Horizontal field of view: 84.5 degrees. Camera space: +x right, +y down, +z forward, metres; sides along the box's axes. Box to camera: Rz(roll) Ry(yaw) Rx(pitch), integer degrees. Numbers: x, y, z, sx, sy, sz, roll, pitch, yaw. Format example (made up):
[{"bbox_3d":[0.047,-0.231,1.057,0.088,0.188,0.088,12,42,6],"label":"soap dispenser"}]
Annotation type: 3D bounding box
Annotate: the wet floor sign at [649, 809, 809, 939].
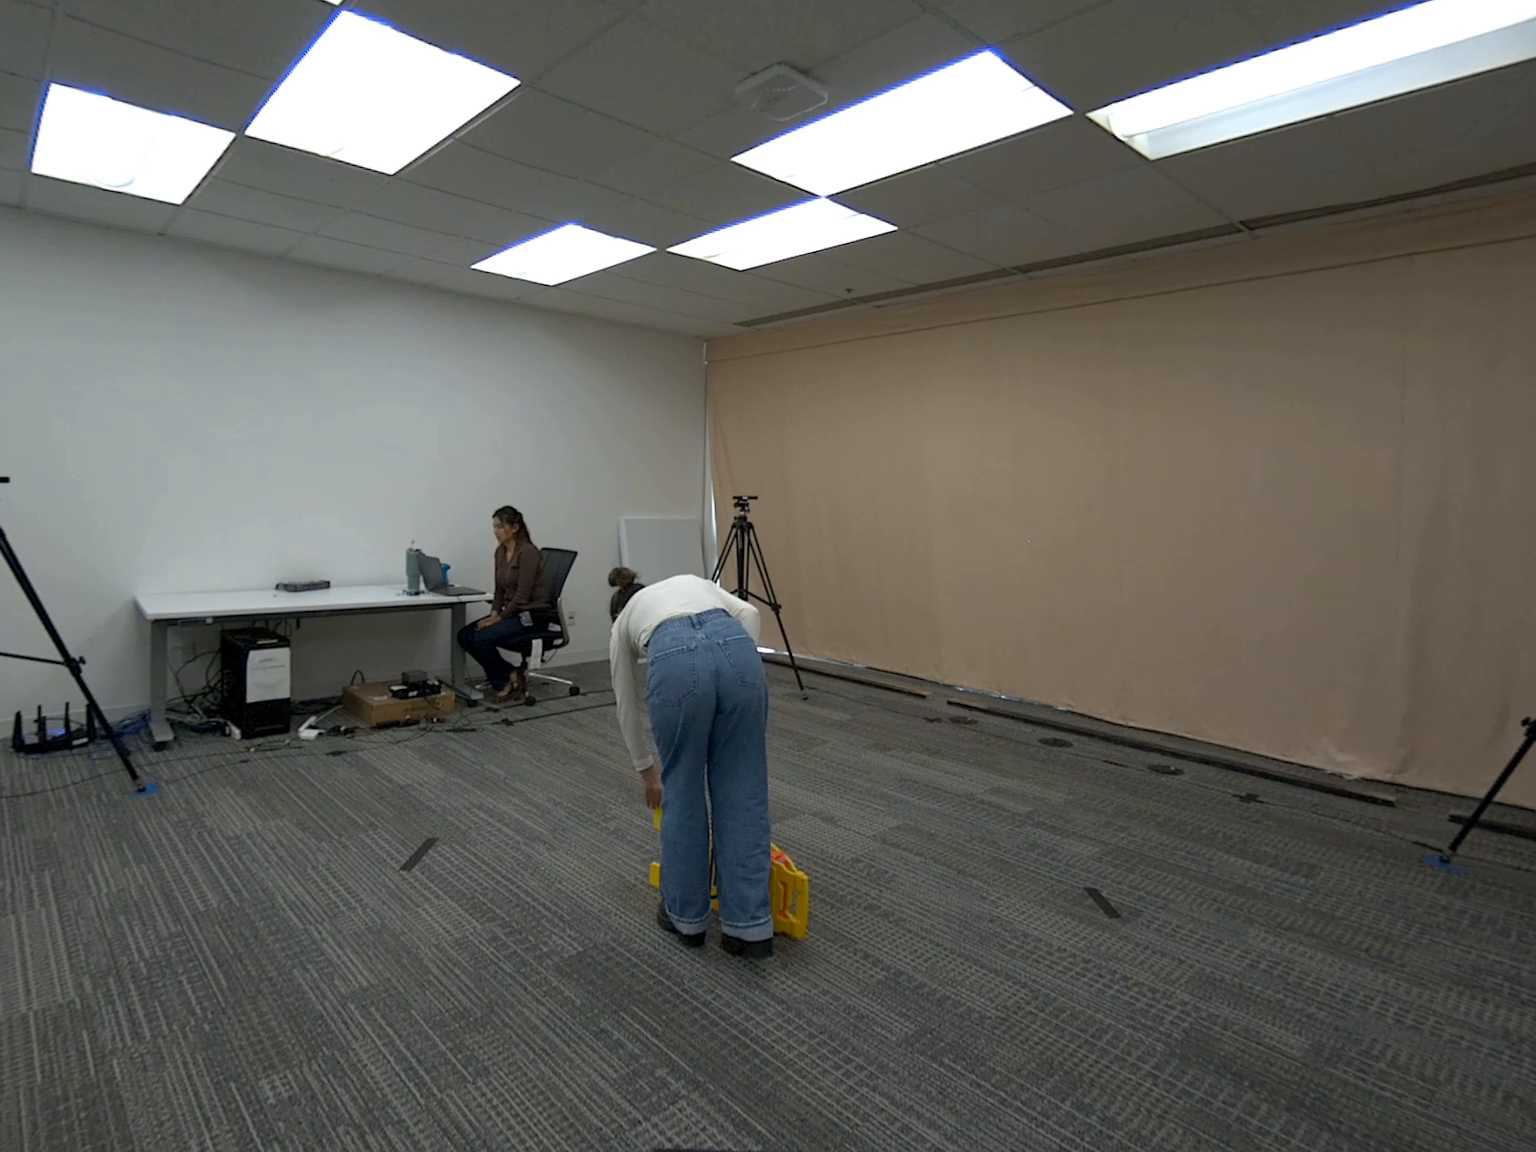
[{"bbox_3d":[-0.108,0.999,2.854,0.283,0.281,0.663,-2,8,-42],"label":"wet floor sign"}]
